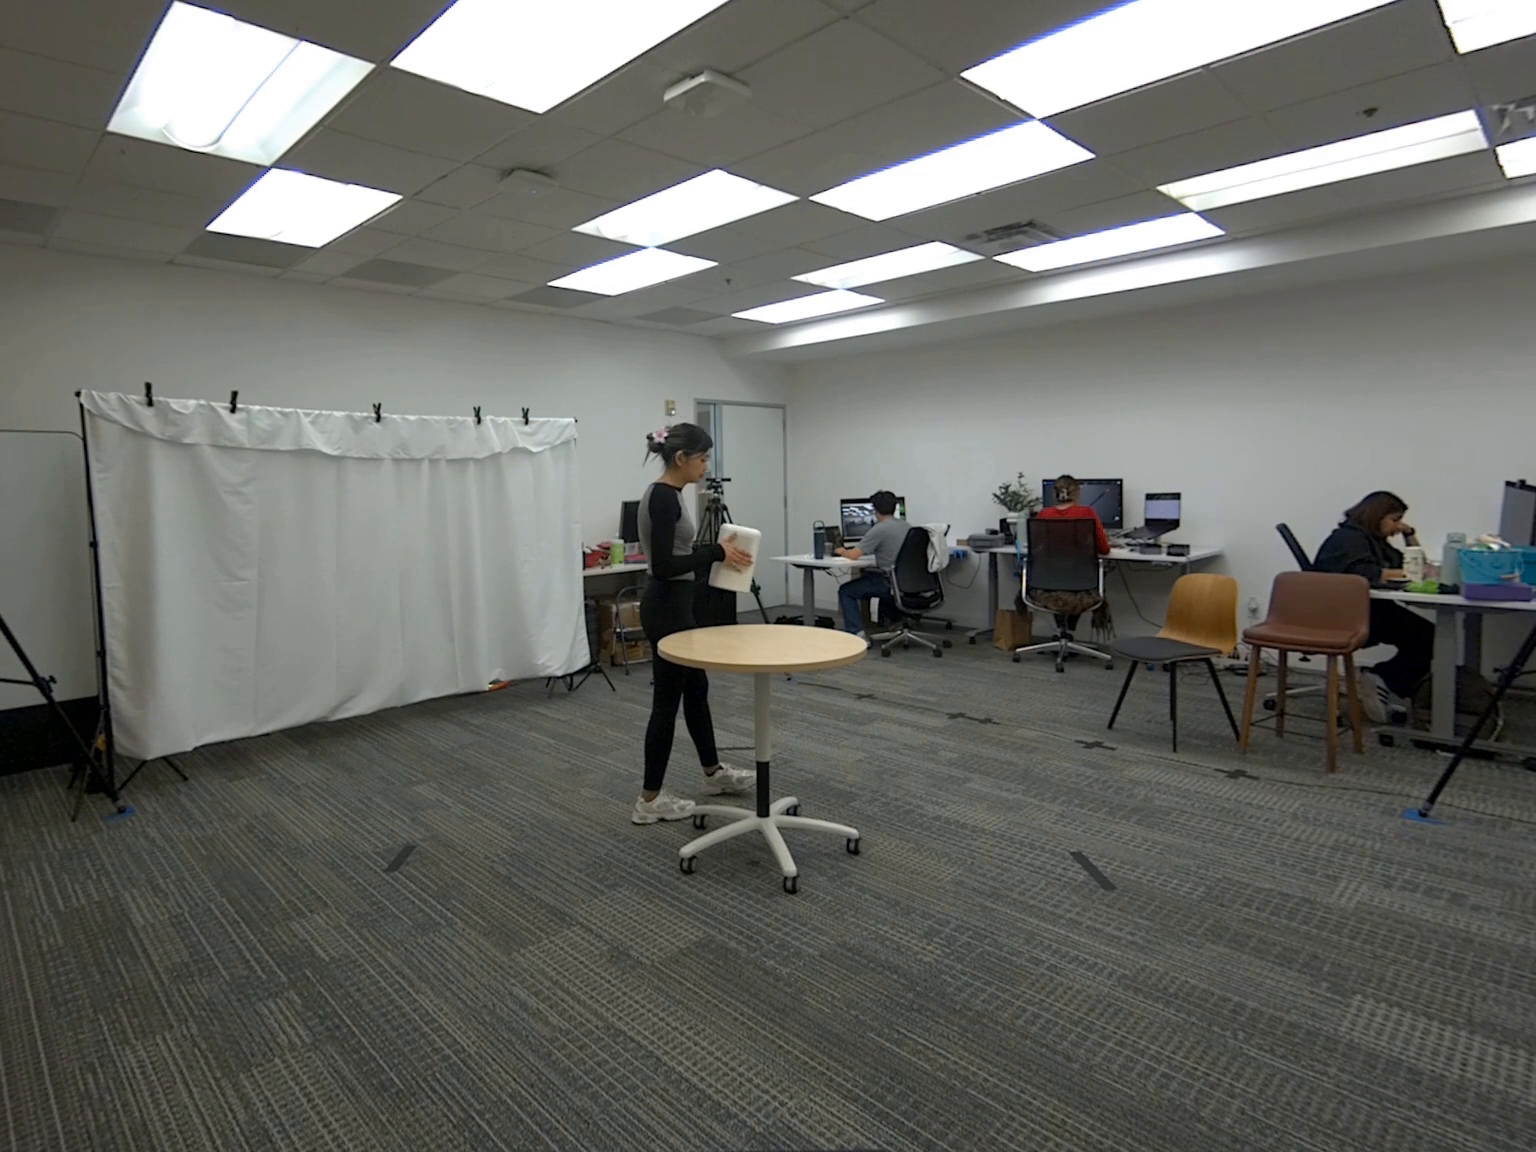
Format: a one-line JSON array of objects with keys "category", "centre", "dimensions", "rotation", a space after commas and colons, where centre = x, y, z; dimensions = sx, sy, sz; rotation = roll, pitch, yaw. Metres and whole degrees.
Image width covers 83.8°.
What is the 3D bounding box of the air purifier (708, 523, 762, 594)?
[{"category": "air purifier", "centre": [-0.137, -0.078, 3.554], "dimensions": [0.171, 0.265, 0.172], "rotation": [11, 2, -5]}]
